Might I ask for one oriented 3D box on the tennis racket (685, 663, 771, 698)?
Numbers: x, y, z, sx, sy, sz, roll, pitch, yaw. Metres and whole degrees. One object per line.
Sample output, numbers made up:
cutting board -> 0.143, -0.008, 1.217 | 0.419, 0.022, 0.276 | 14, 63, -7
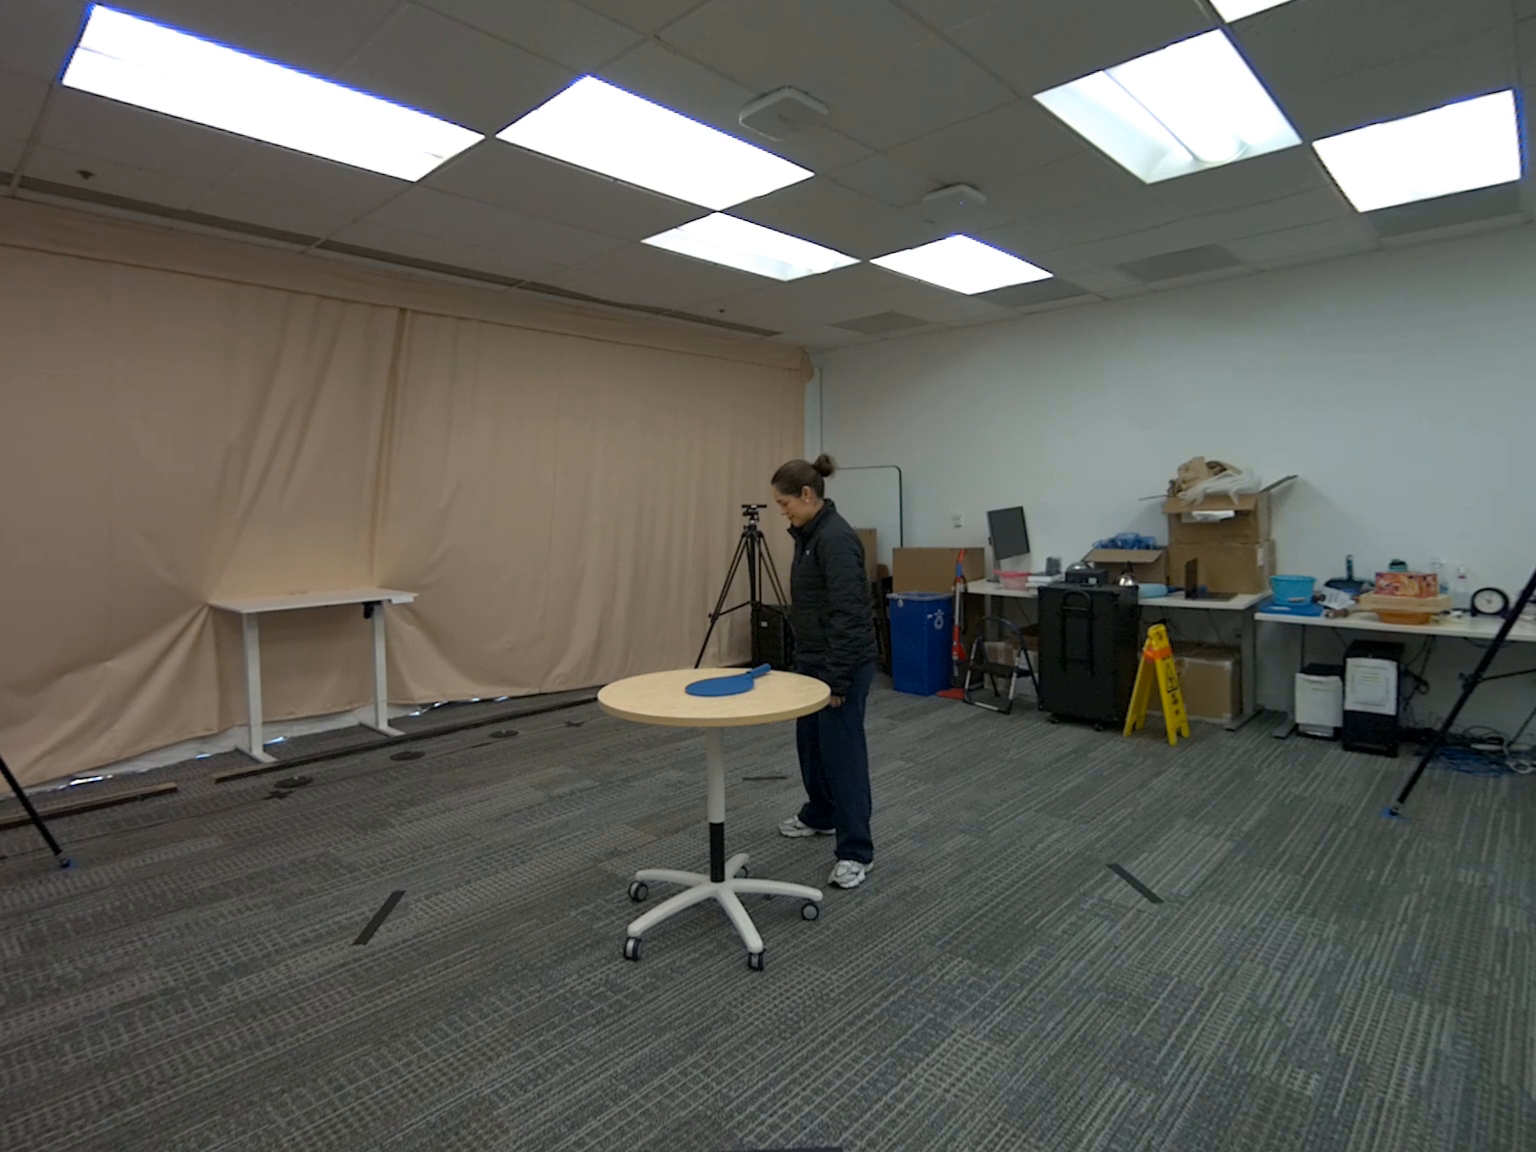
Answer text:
tennis racket -> -0.112, 0.359, 2.869 | 0.220, 0.031, 0.421 | 3, 8, 34
